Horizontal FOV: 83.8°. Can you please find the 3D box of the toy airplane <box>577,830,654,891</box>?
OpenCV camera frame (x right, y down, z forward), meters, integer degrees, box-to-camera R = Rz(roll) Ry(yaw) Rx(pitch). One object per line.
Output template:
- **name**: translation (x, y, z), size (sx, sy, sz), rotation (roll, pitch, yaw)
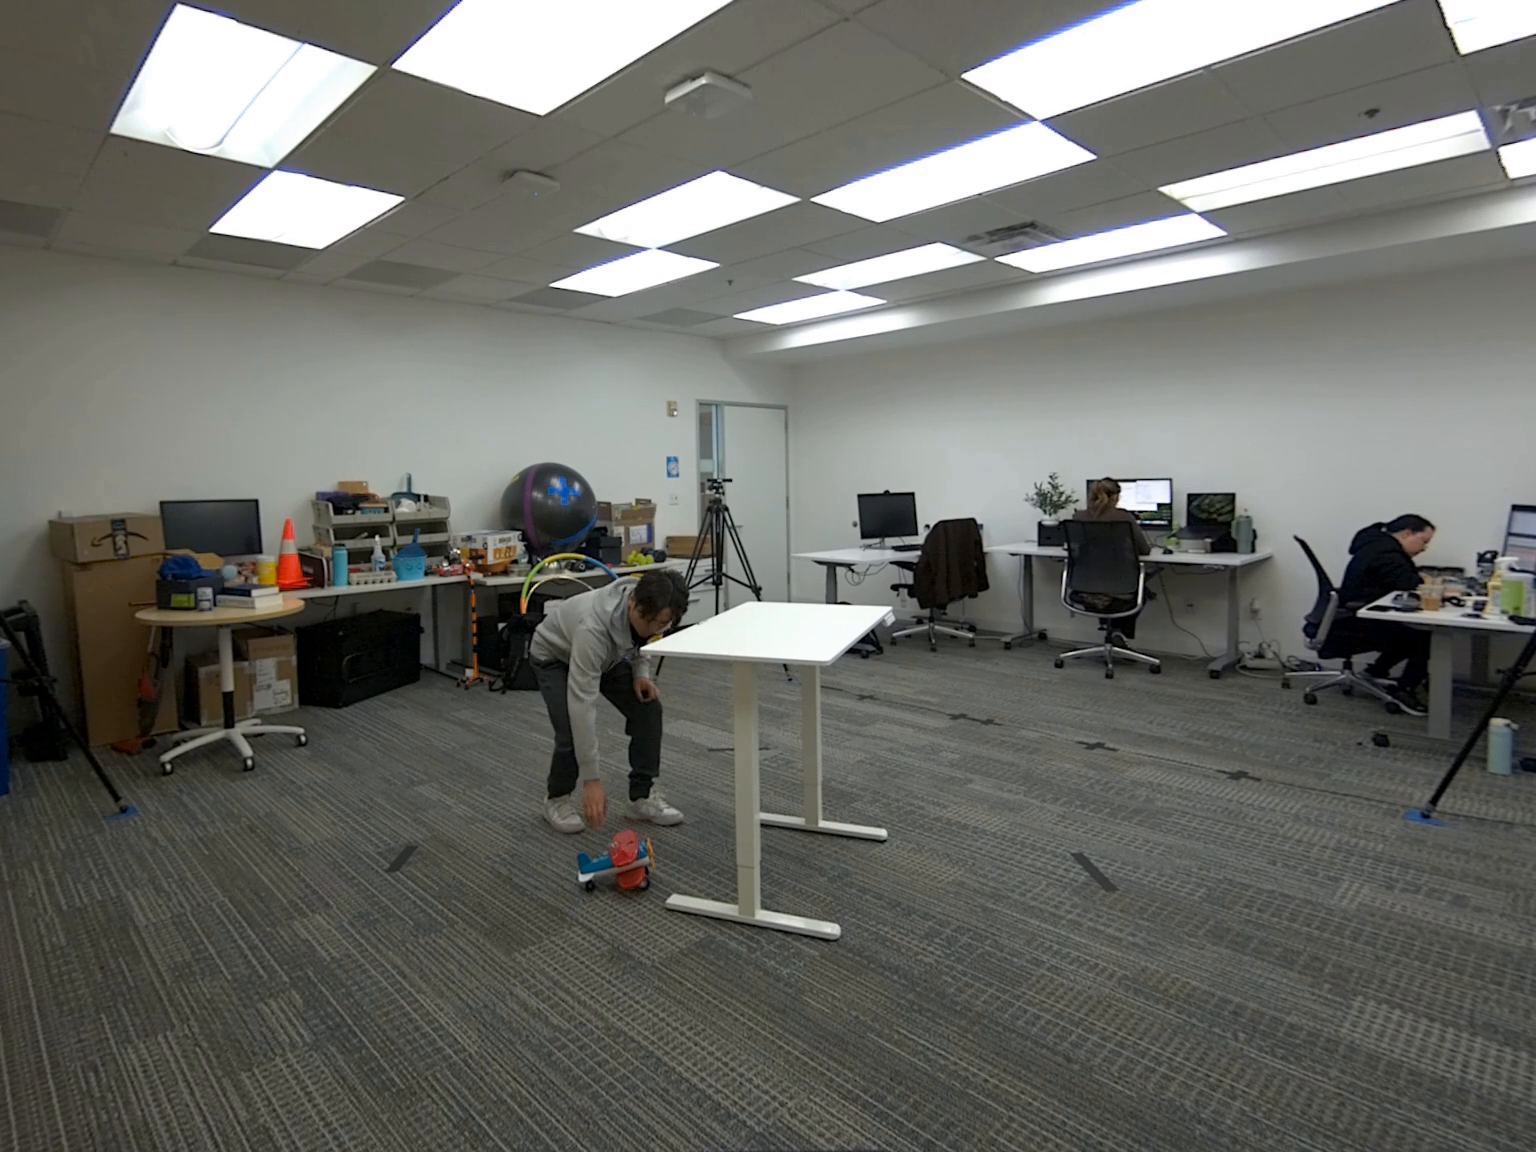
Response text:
- **toy airplane**: translation (-0.513, 0.997, 2.927), size (0.253, 0.156, 0.259), rotation (-6, 7, -37)
